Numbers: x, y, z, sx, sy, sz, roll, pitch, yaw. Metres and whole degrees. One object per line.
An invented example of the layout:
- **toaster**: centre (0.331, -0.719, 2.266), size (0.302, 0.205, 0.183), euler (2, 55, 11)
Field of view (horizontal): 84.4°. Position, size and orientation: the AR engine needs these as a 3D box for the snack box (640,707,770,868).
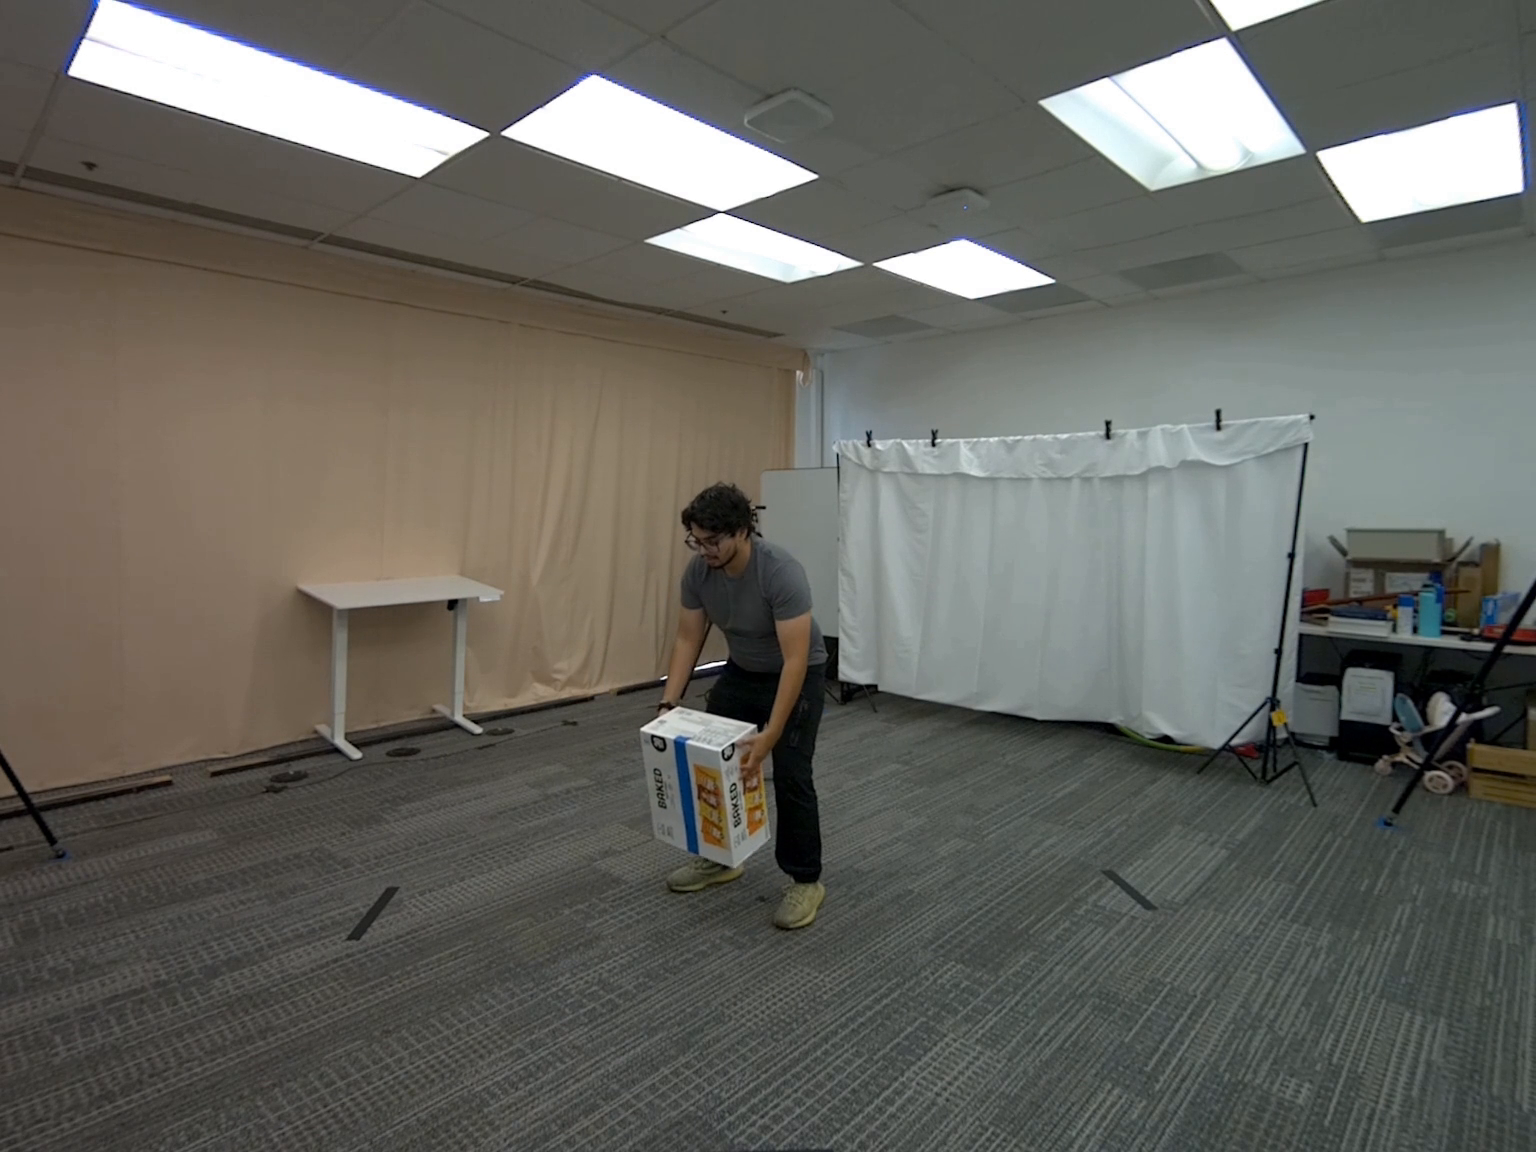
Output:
- **snack box**: centre (-0.206, 0.682, 2.766), size (0.351, 0.401, 0.201), euler (4, 16, 37)
